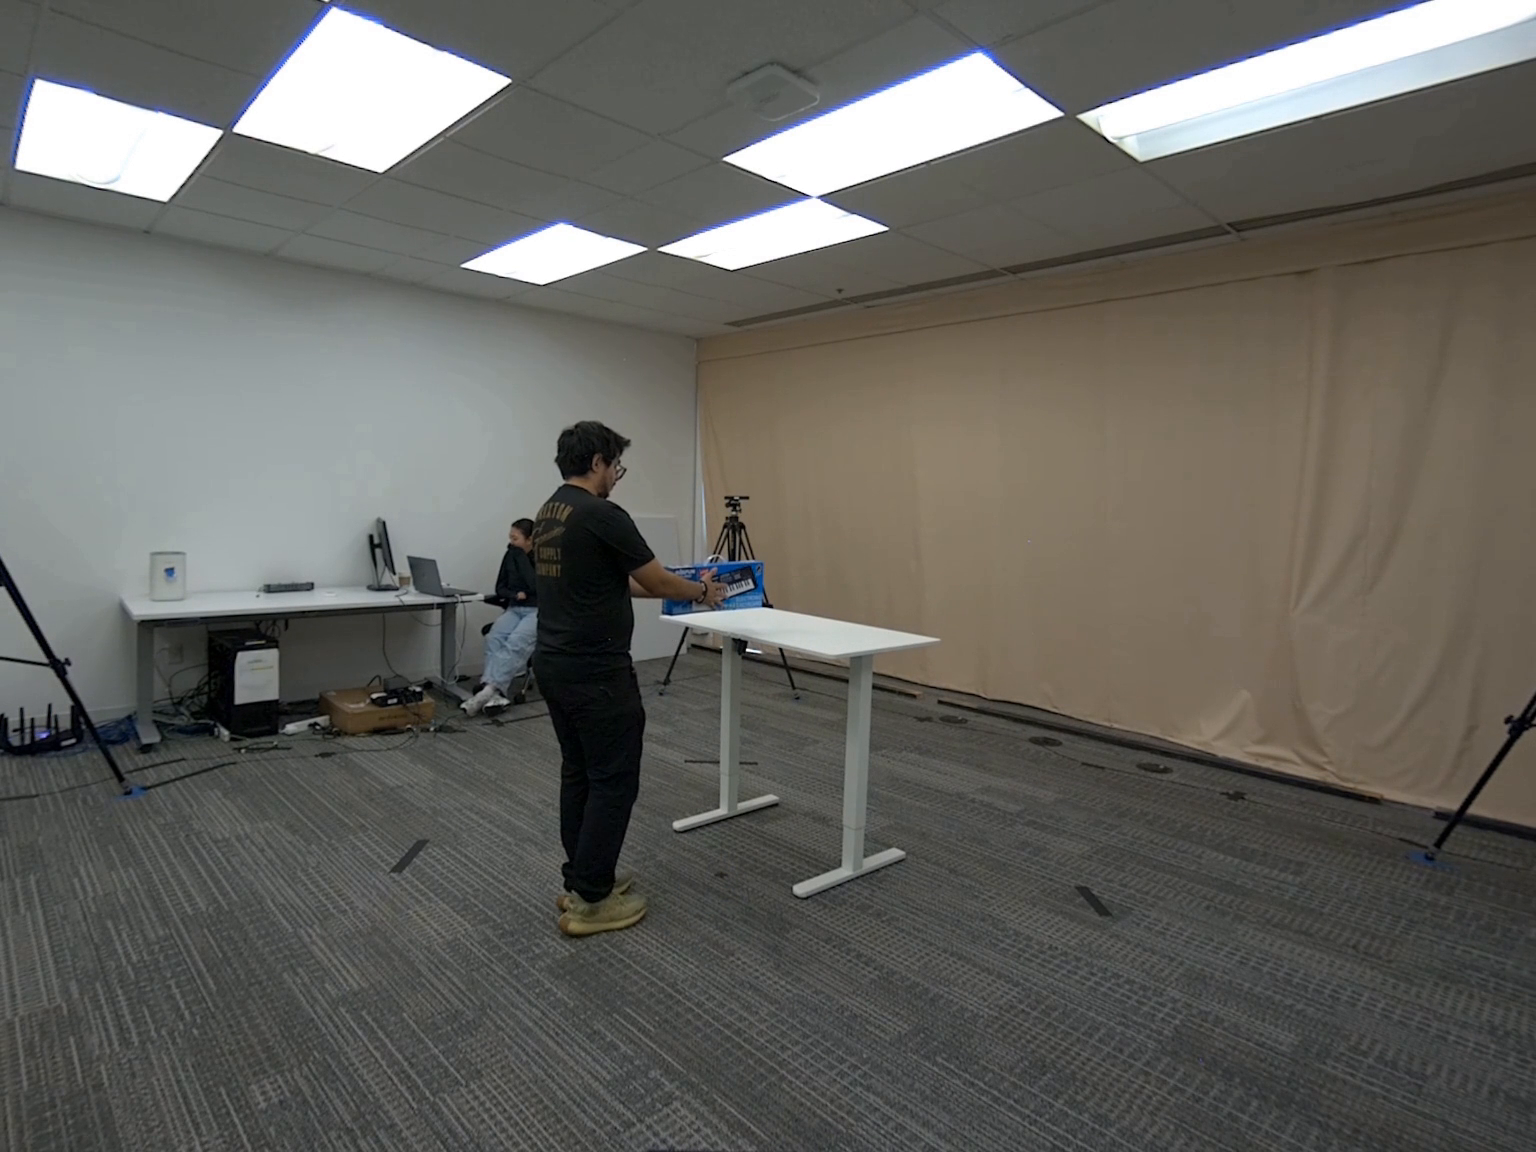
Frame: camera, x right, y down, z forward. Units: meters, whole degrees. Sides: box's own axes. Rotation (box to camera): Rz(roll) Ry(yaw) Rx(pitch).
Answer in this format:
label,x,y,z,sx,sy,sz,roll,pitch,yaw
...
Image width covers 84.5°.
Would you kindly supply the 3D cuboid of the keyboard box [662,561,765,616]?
label,x,y,z,sx,sy,sz,roll,pitch,yaw
keyboard box,-0.199,0.047,3.117,0.427,0.175,0.060,-5,8,-41
